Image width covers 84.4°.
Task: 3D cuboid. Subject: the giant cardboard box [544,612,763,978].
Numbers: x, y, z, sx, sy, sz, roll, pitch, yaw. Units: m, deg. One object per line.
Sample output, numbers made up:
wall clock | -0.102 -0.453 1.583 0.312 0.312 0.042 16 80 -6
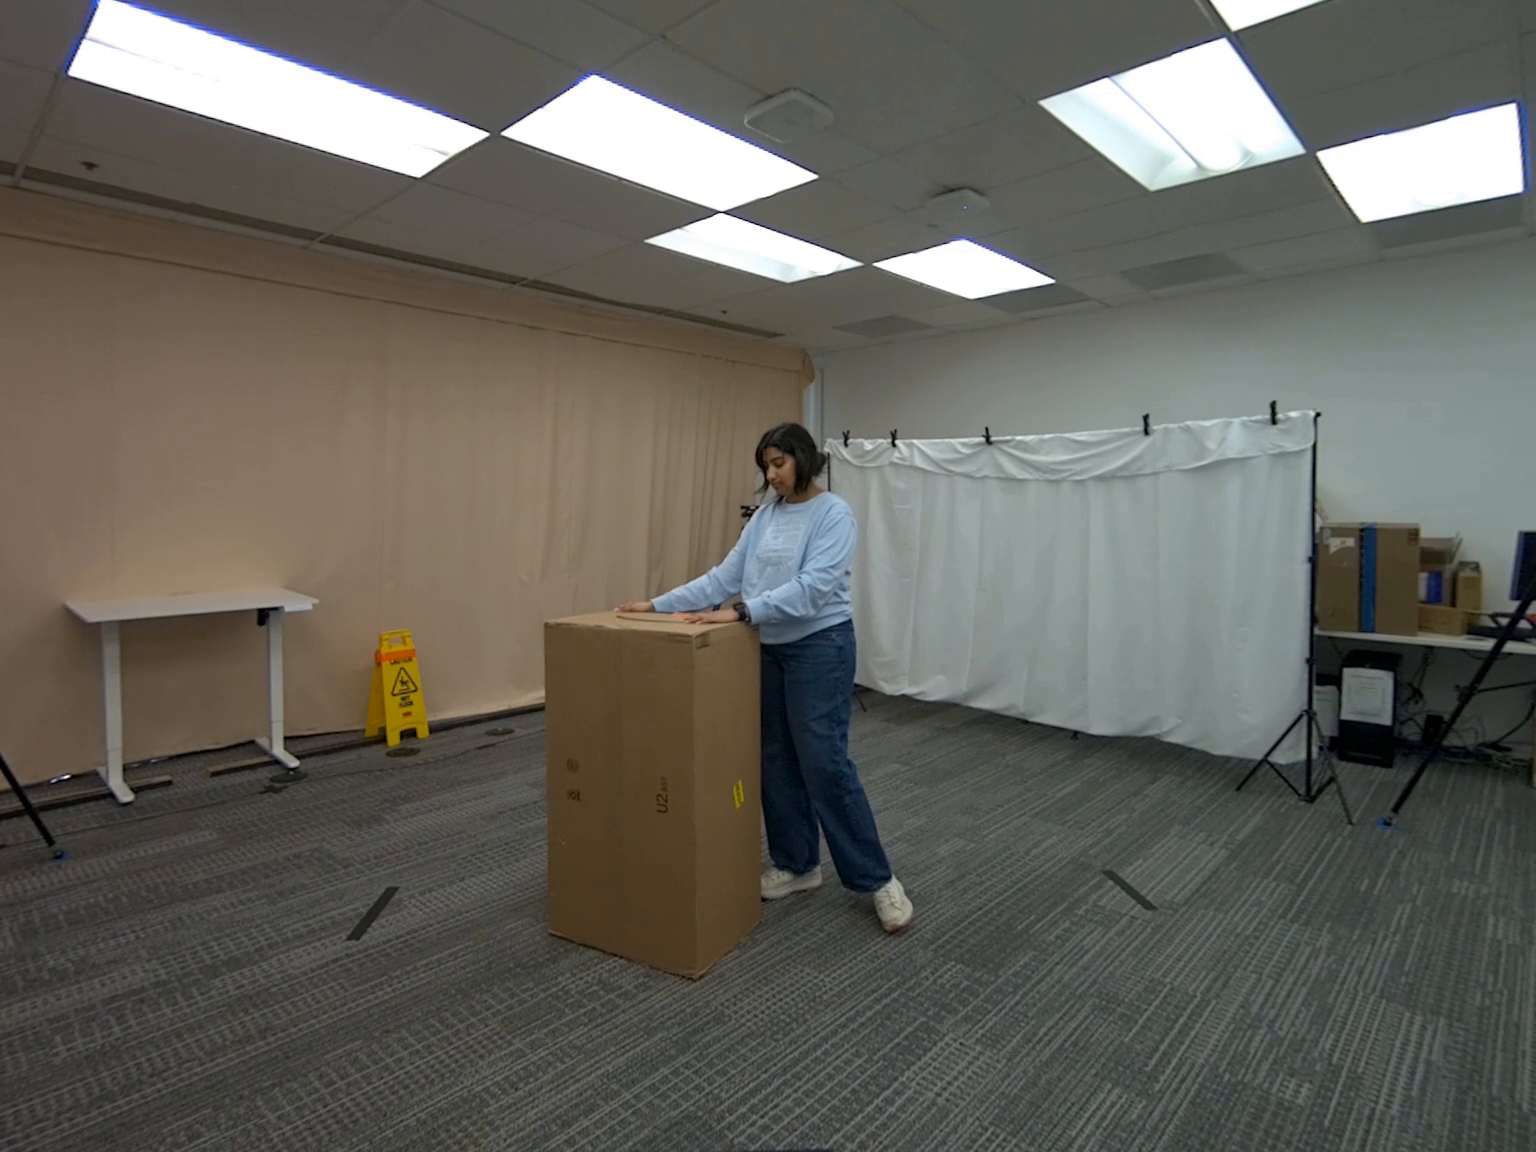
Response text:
giant cardboard box | -0.376 0.659 2.770 0.600 1.025 0.435 1 2 28
